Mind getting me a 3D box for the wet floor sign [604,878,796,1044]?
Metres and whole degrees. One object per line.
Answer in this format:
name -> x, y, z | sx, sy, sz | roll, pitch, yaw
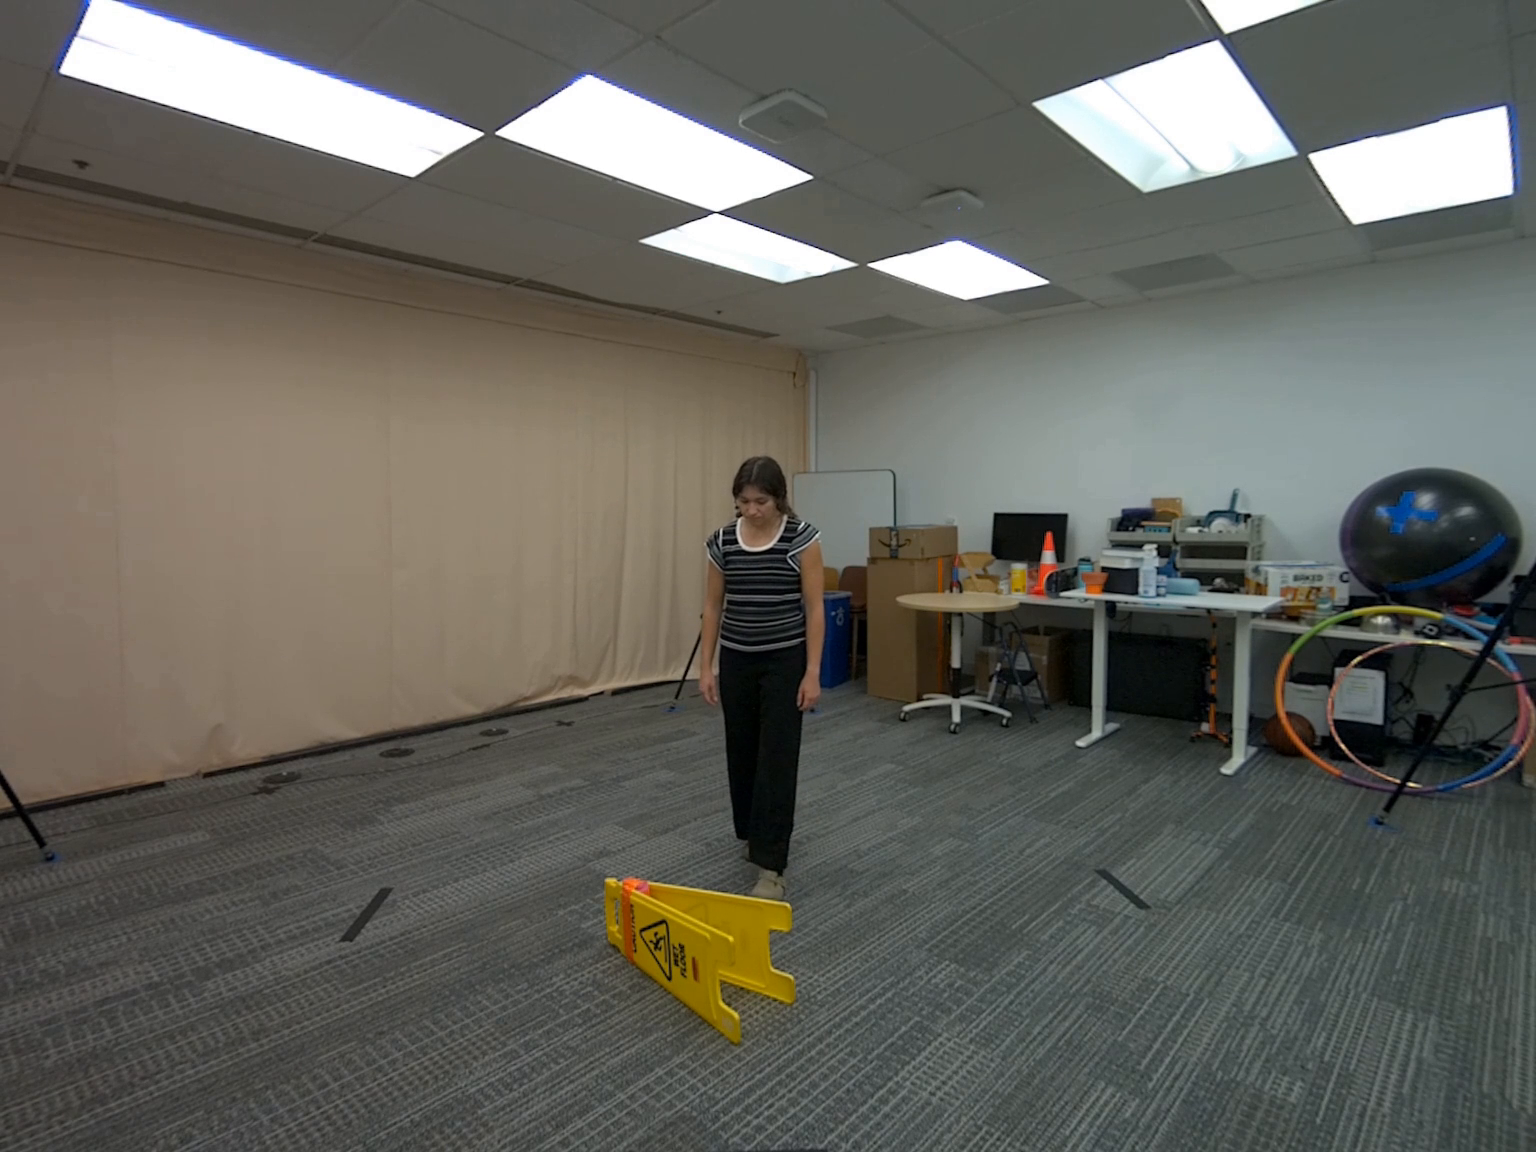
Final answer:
wet floor sign -> -0.261, 1.066, 2.470 | 0.666, 0.282, 0.281 | 0, 4, 40
